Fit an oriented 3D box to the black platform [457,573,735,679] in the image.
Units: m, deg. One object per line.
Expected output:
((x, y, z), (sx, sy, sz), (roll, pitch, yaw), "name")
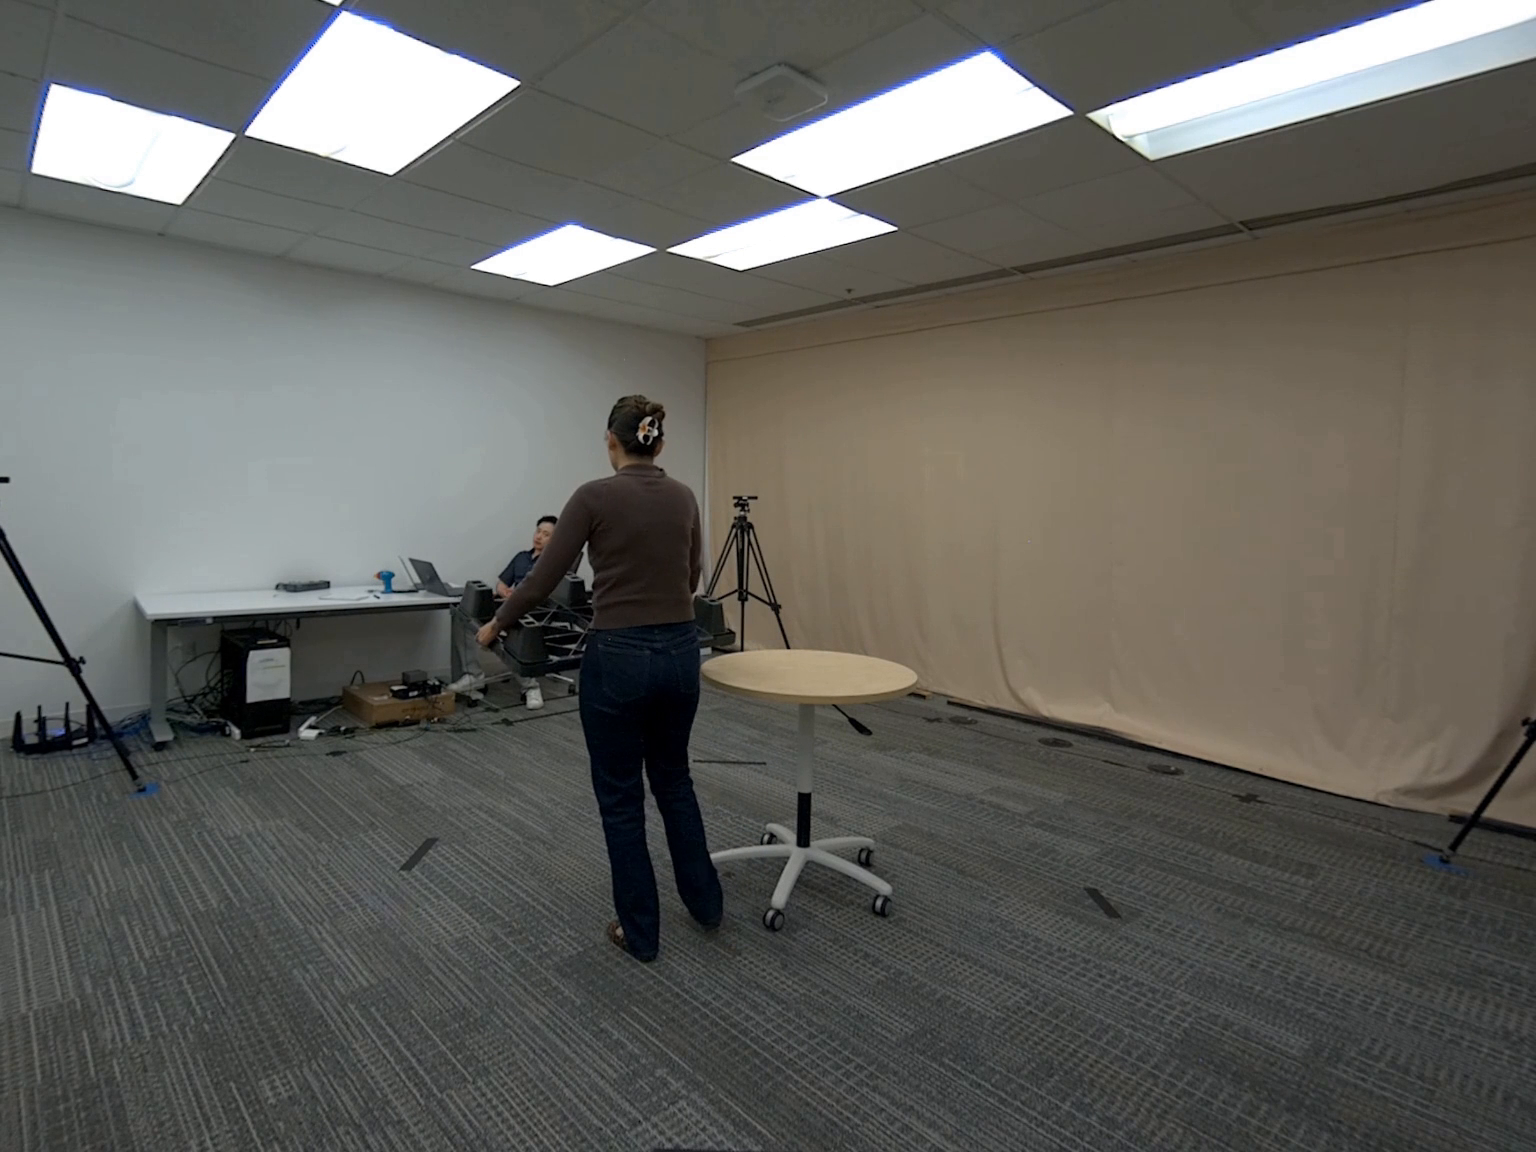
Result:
((-0.599, 0.127, 2.870), (0.788, 0.142, 0.624), (-5, 19, -39), "black platform")
